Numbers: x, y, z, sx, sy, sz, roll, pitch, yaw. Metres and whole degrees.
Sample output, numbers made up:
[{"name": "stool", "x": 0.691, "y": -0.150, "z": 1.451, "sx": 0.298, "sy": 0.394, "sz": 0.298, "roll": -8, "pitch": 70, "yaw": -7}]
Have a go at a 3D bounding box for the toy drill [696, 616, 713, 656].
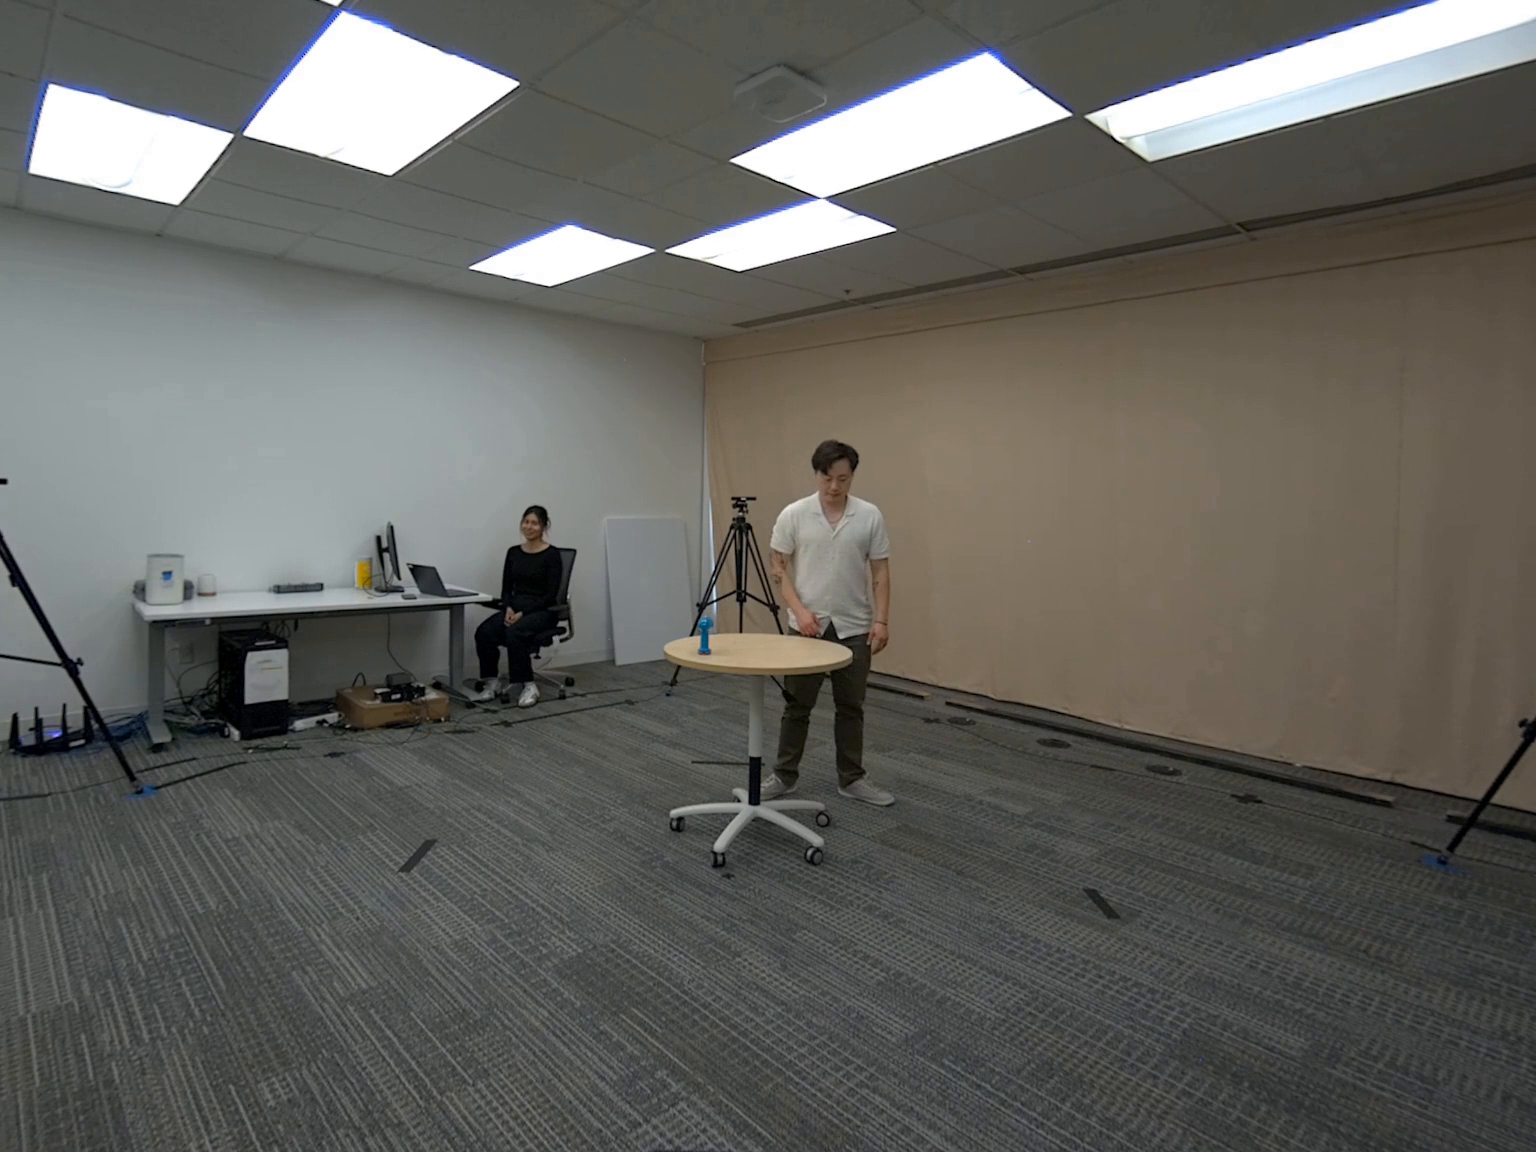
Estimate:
[{"name": "toy drill", "x": -0.253, "y": 0.226, "z": 3.344, "sx": 0.061, "sy": 0.145, "sz": 0.170, "roll": 0, "pitch": 4, "yaw": 0}]
